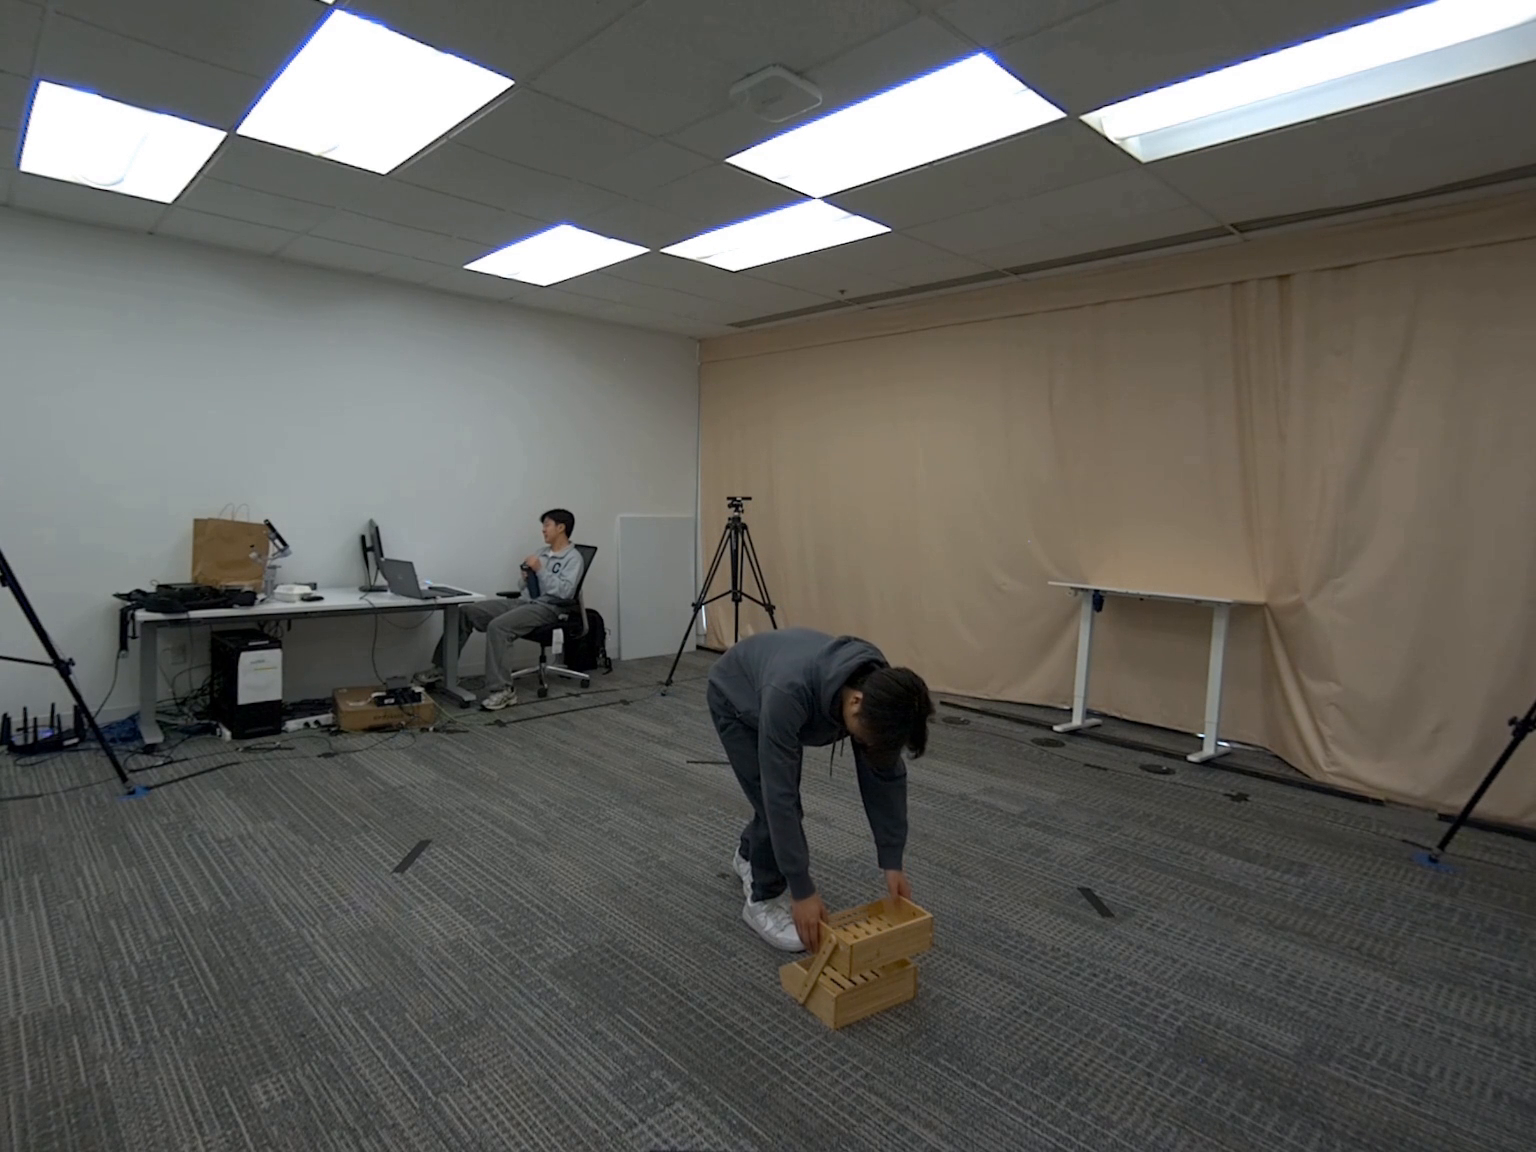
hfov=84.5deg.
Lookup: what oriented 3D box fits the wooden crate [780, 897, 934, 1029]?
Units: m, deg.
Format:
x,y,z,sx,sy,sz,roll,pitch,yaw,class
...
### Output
x,y,z,sx,sy,sz,roll,pitch,yaw,class
0.240,1.048,2.365,0.317,0.272,0.309,-2,6,-34,wooden crate
